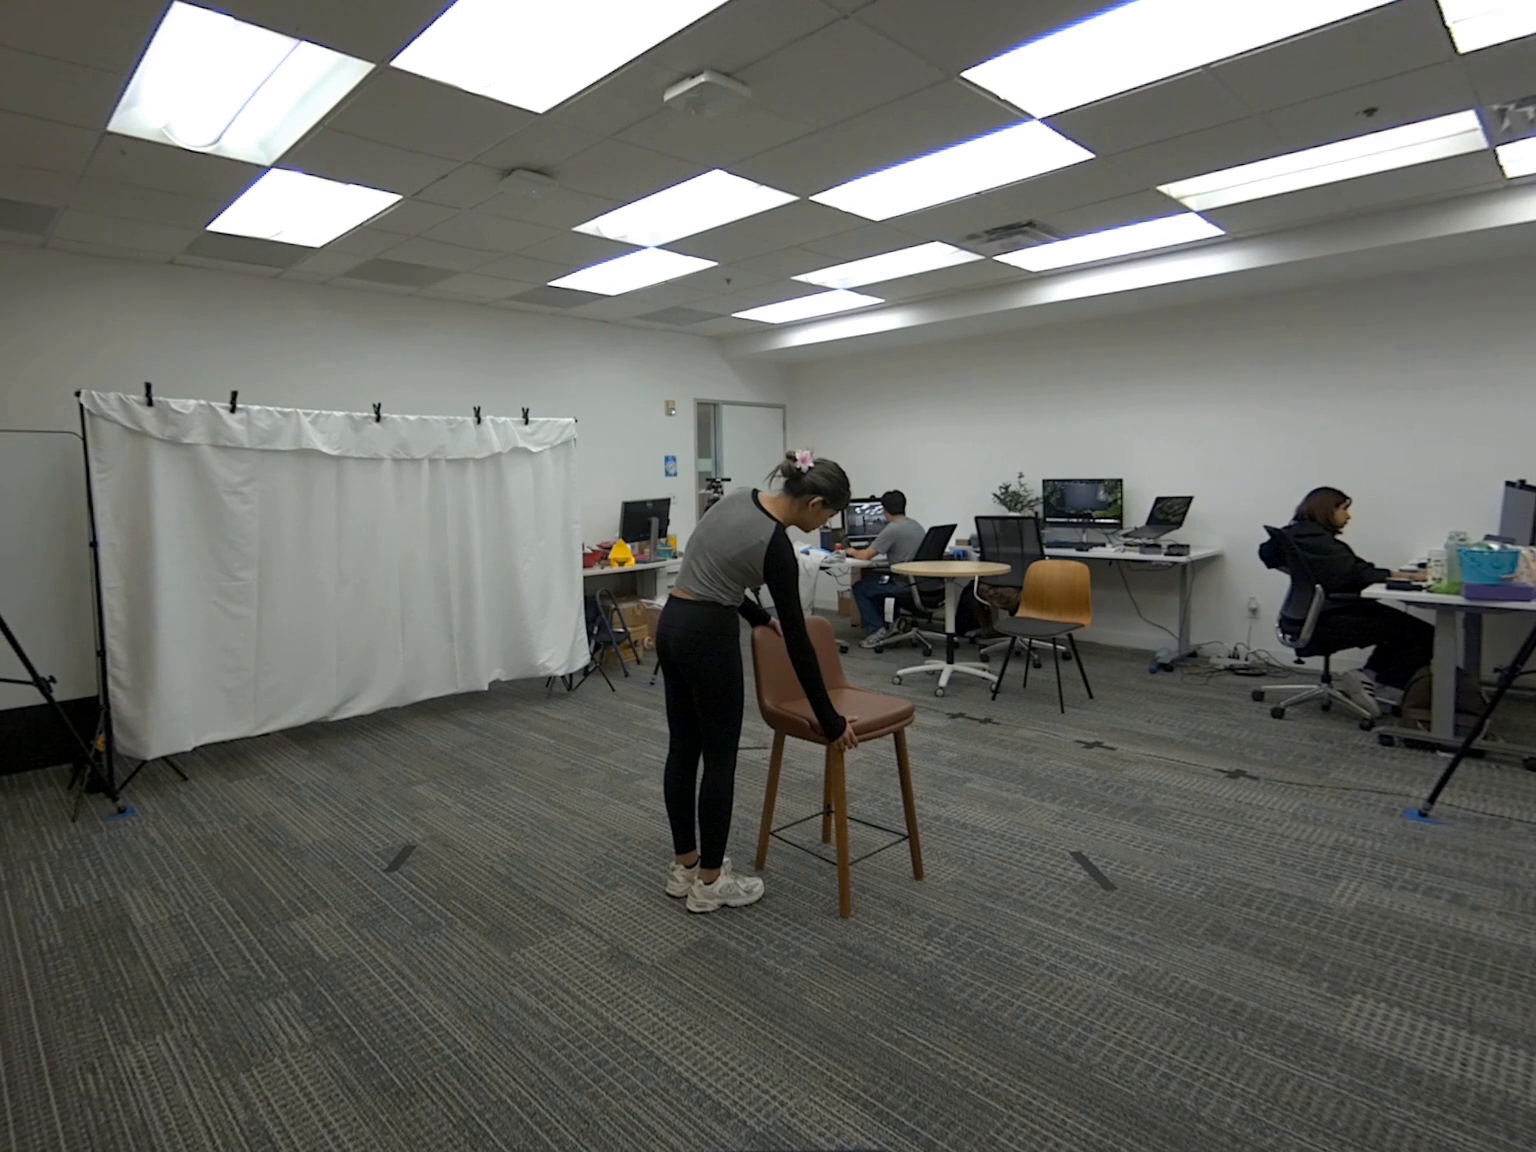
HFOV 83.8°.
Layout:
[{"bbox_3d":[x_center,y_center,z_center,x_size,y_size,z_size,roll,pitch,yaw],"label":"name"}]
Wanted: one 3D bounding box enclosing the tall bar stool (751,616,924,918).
[{"bbox_3d":[0.234,0.613,2.987,0.444,0.888,0.481,-4,3,-42],"label":"tall bar stool"}]
